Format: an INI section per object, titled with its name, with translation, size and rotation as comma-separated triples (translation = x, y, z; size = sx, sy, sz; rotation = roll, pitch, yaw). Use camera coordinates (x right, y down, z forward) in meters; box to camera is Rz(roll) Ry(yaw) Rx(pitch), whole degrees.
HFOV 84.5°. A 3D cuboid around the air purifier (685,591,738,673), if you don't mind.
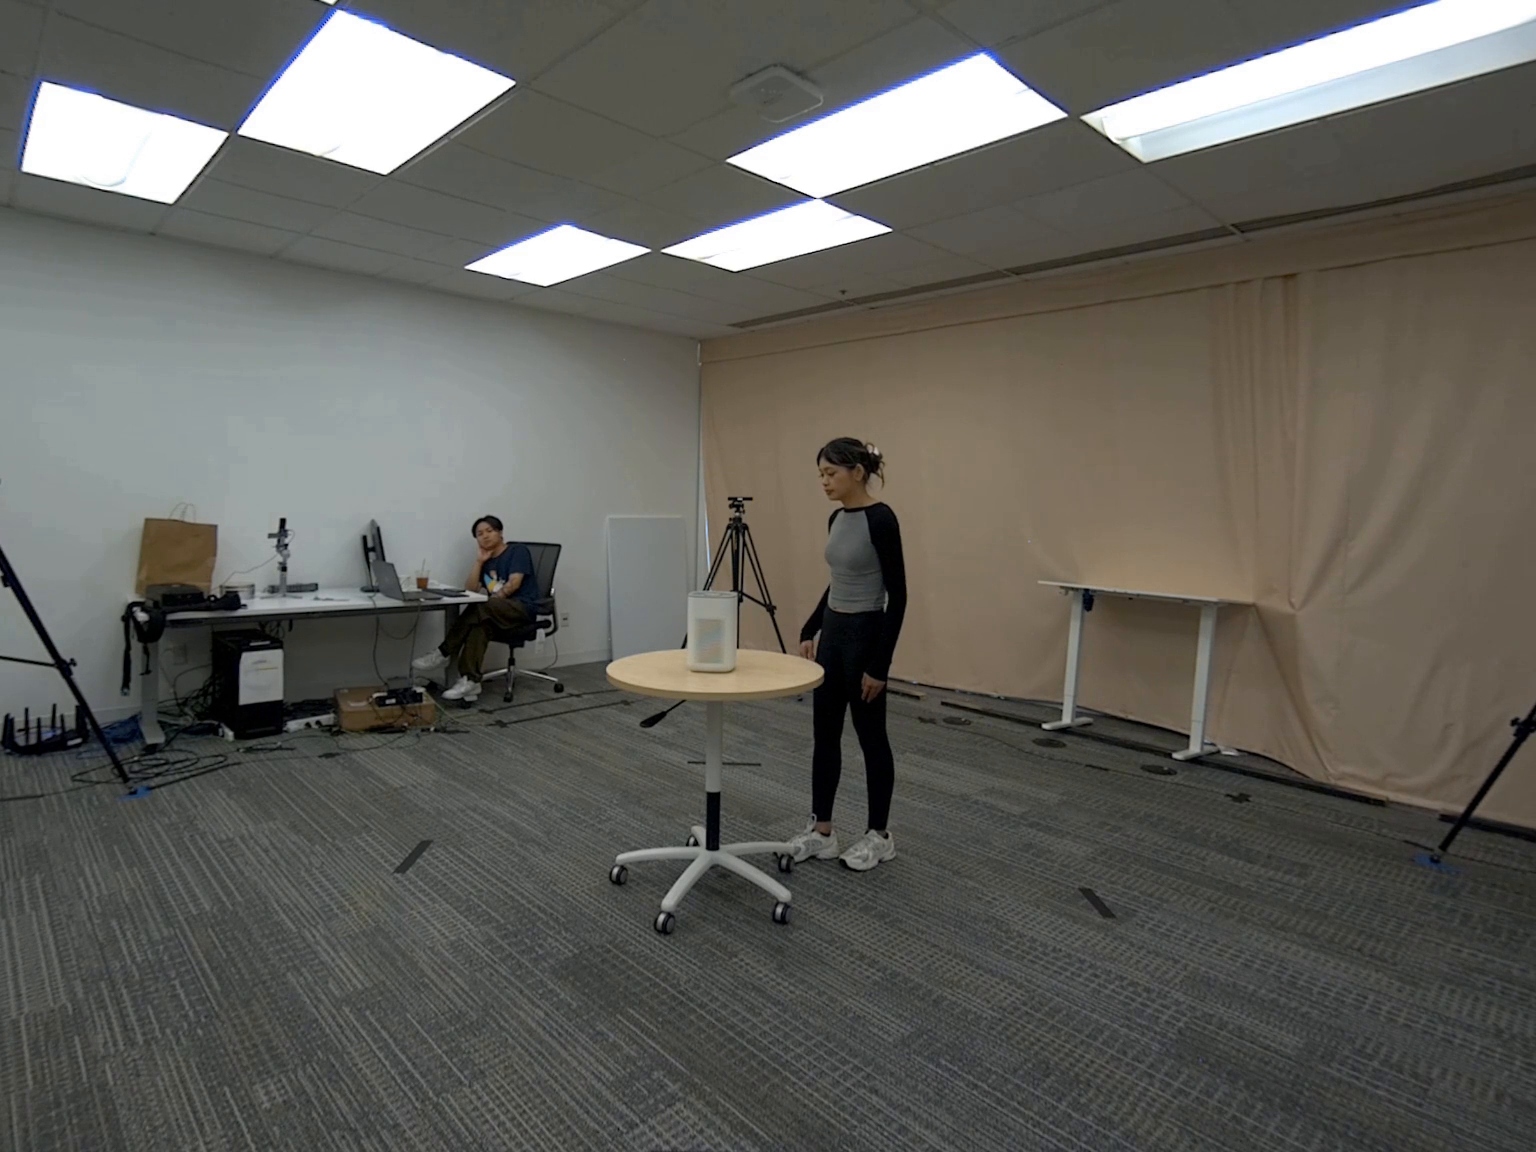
[air purifier]
translation = -0.201, 0.195, 2.942
size = 0.171, 0.264, 0.172
rotation = 1, 5, -1
